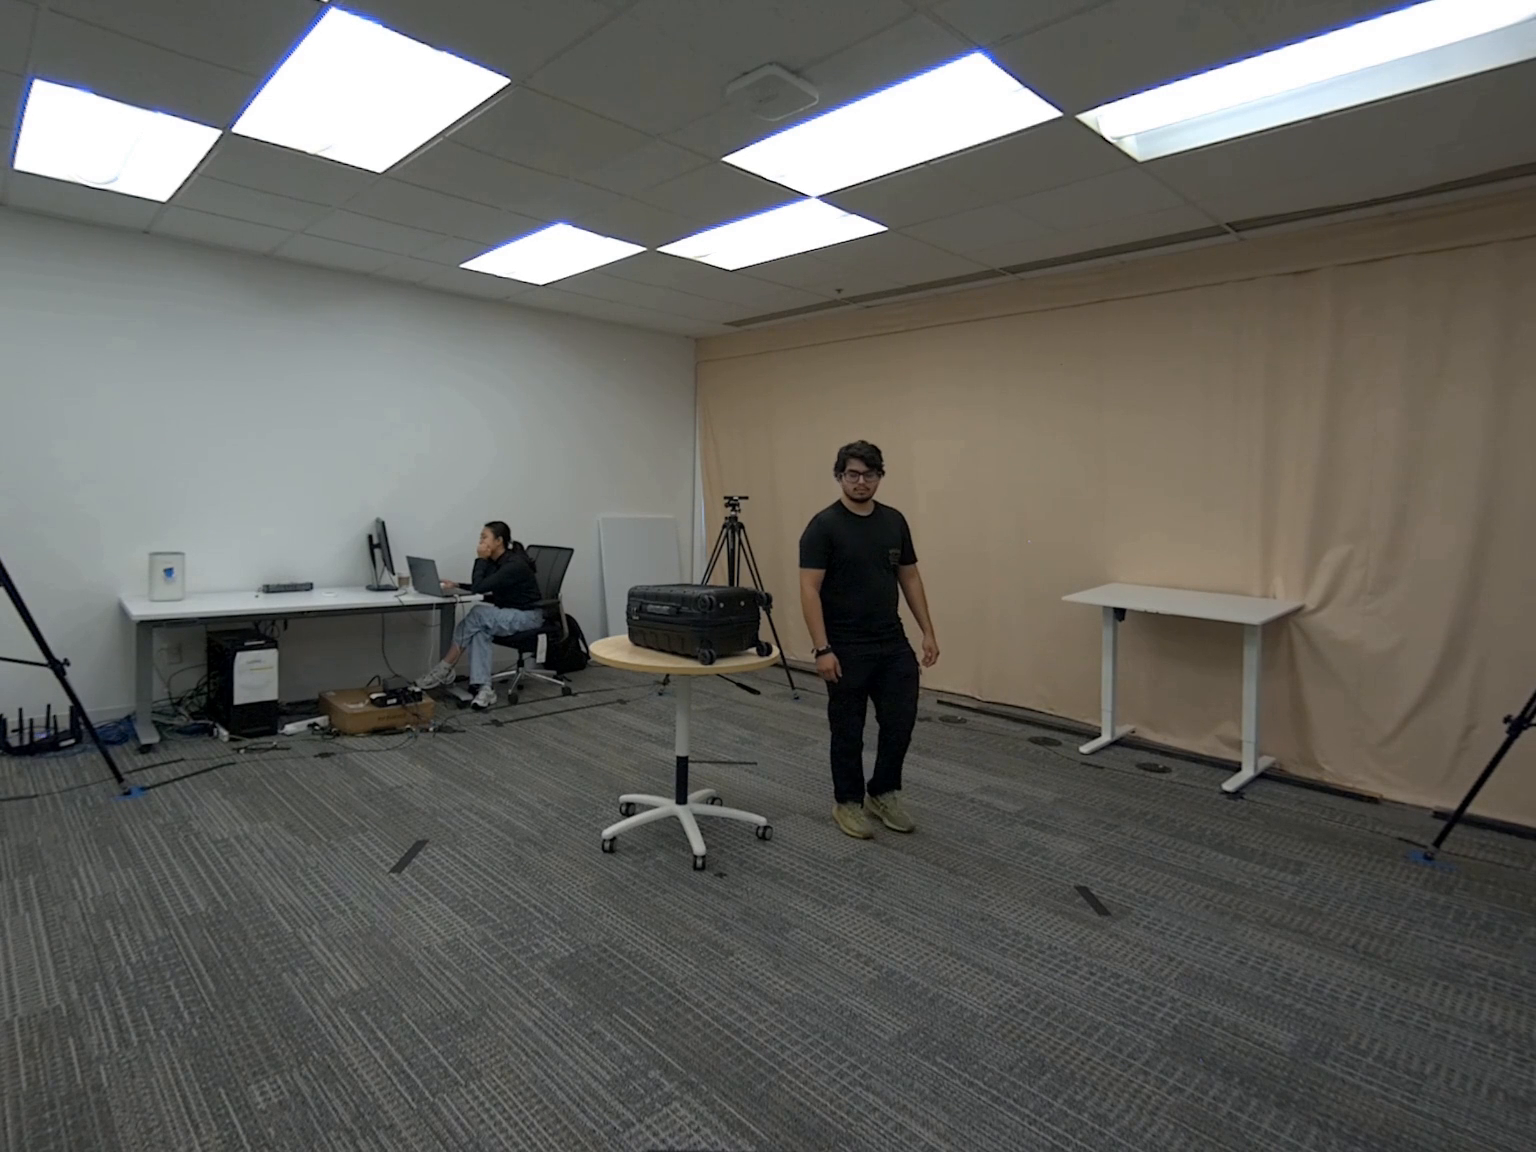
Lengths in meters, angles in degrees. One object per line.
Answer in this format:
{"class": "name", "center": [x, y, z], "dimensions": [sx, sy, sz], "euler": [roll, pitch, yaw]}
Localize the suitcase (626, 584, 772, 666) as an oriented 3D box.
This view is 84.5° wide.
{"class": "suitcase", "center": [-0.302, 0.170, 3.352], "dimensions": [0.563, 0.248, 0.367], "euler": [3, 5, 45]}
